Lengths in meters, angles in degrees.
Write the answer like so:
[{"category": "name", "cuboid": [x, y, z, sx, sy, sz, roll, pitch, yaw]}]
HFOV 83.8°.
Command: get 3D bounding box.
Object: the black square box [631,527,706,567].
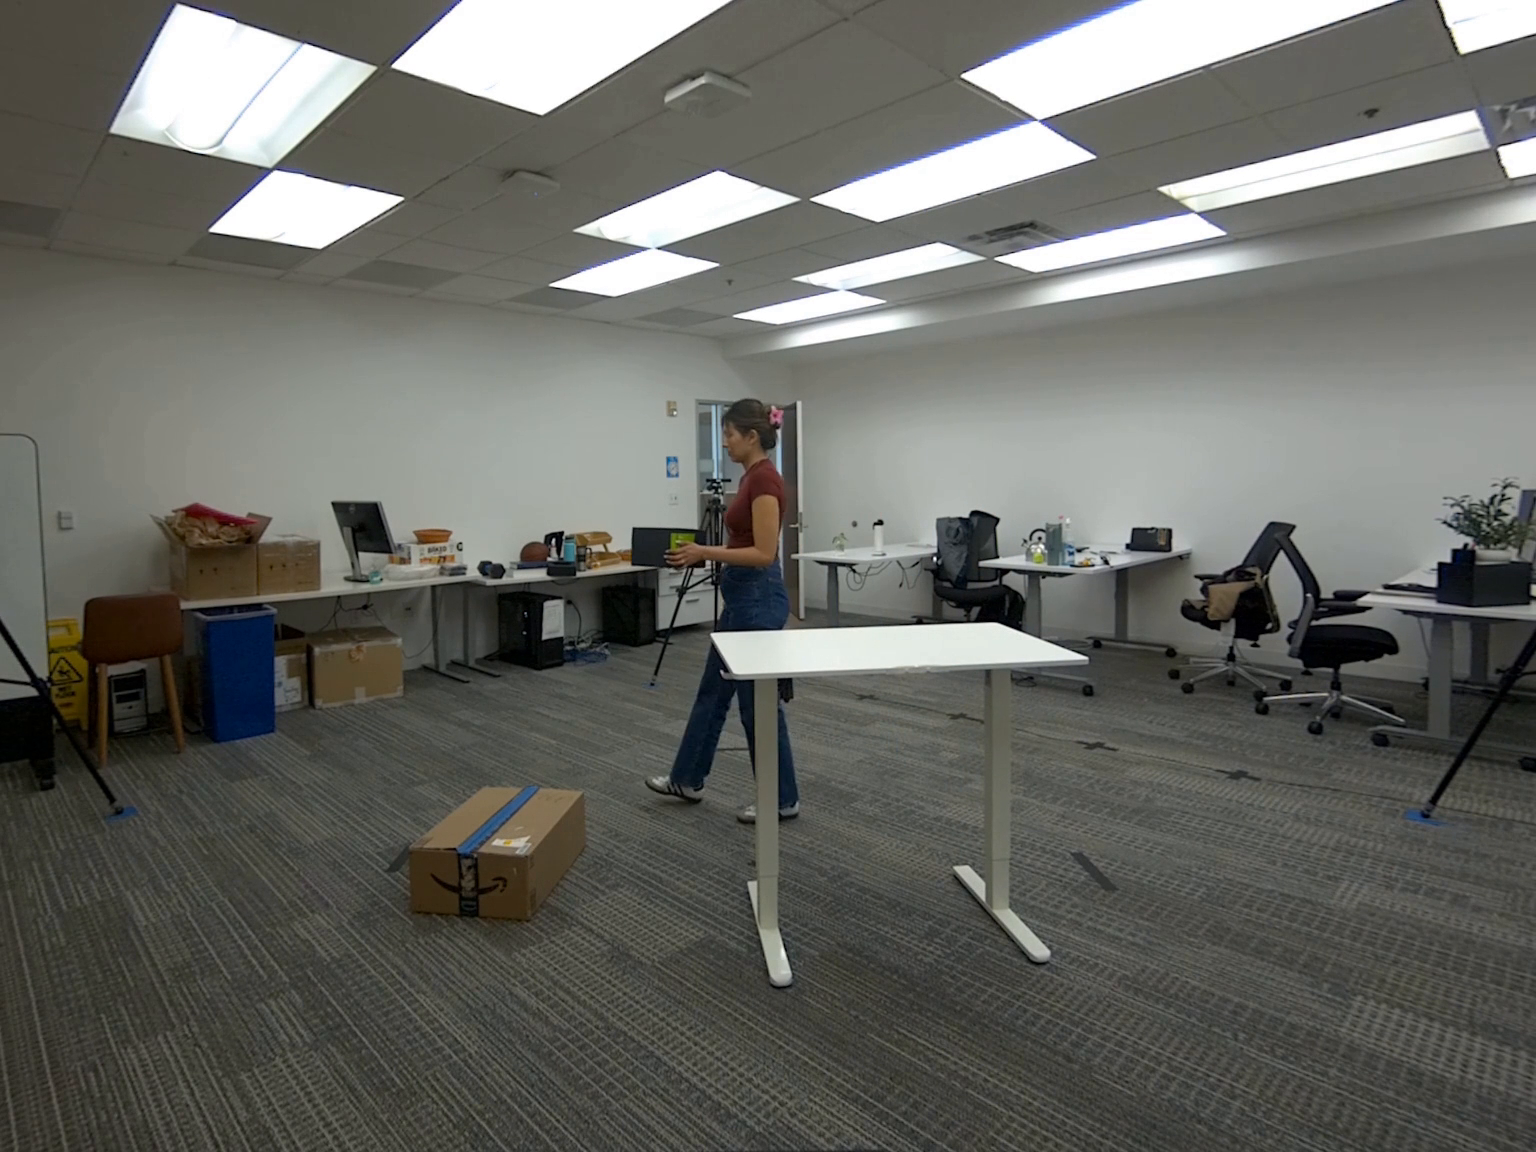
[{"category": "black square box", "cuboid": [-0.402, -0.119, 3.437, 0.222, 0.156, 0.222, 4, 2, 27]}]
